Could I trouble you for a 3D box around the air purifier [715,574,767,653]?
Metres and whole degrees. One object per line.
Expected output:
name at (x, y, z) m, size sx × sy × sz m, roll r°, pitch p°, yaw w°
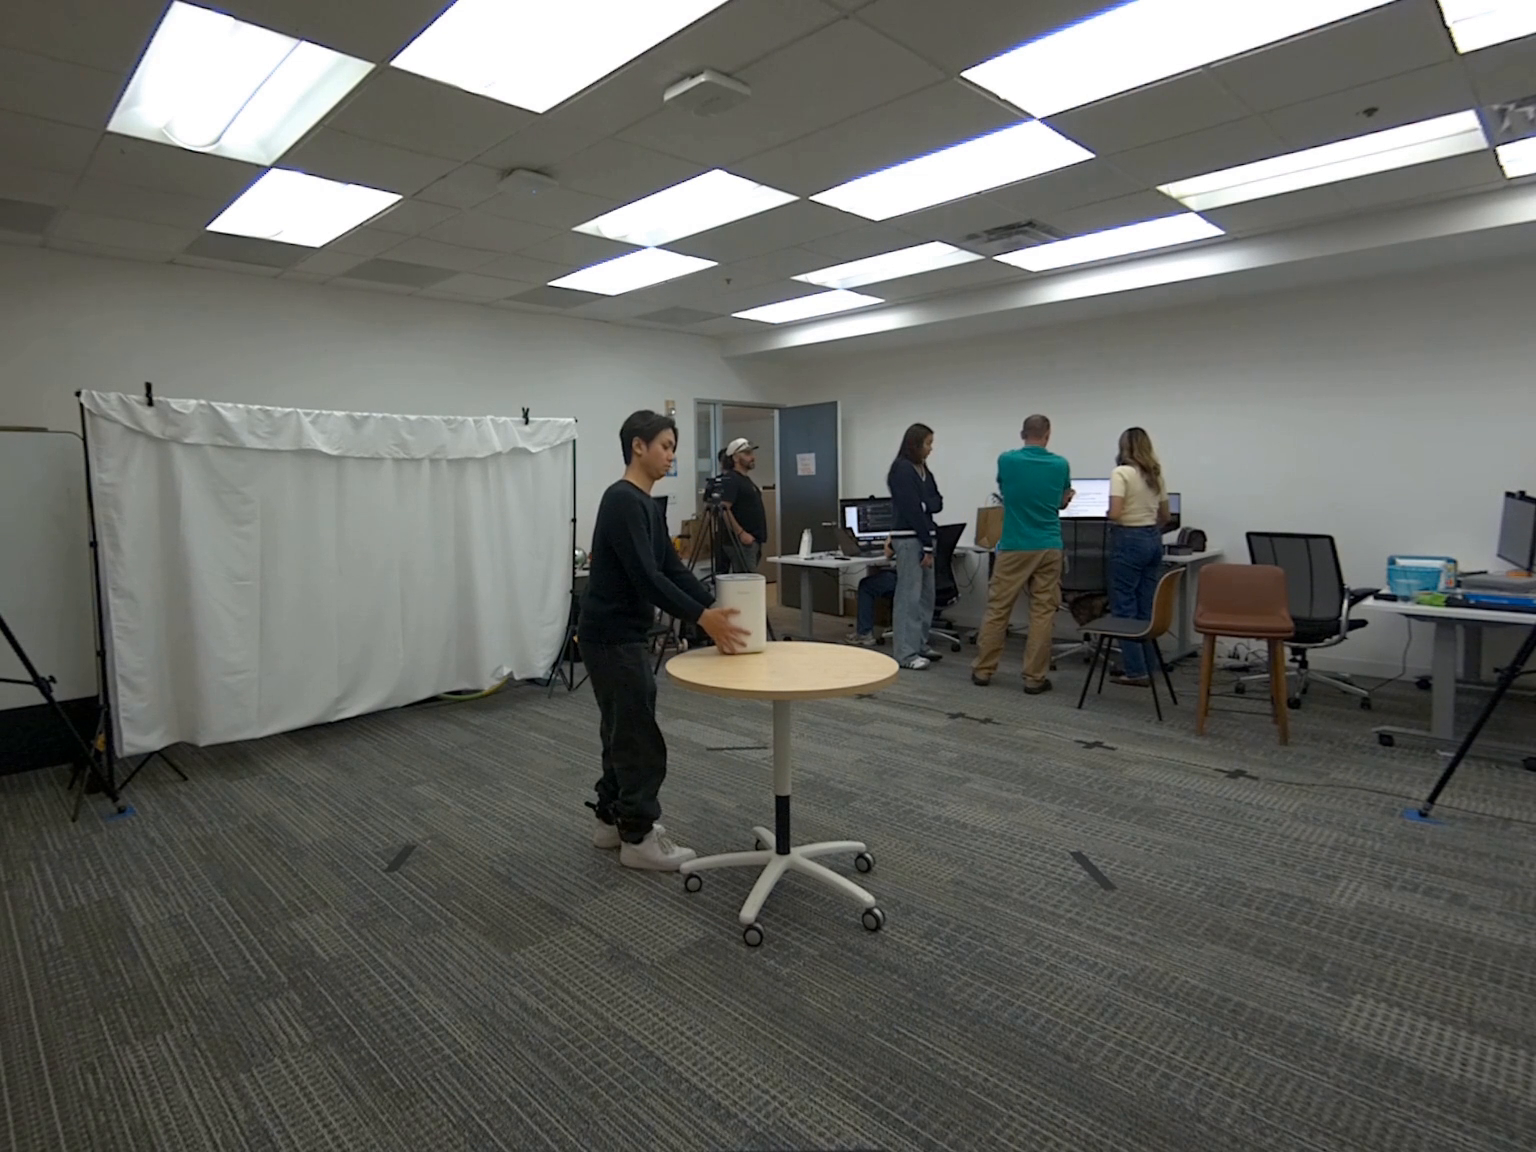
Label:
air purifier at (-0.099, 0.133, 3.046) m, size 0.170 × 0.264 × 0.173 m, roll -1°, pitch 5°, yaw -8°
